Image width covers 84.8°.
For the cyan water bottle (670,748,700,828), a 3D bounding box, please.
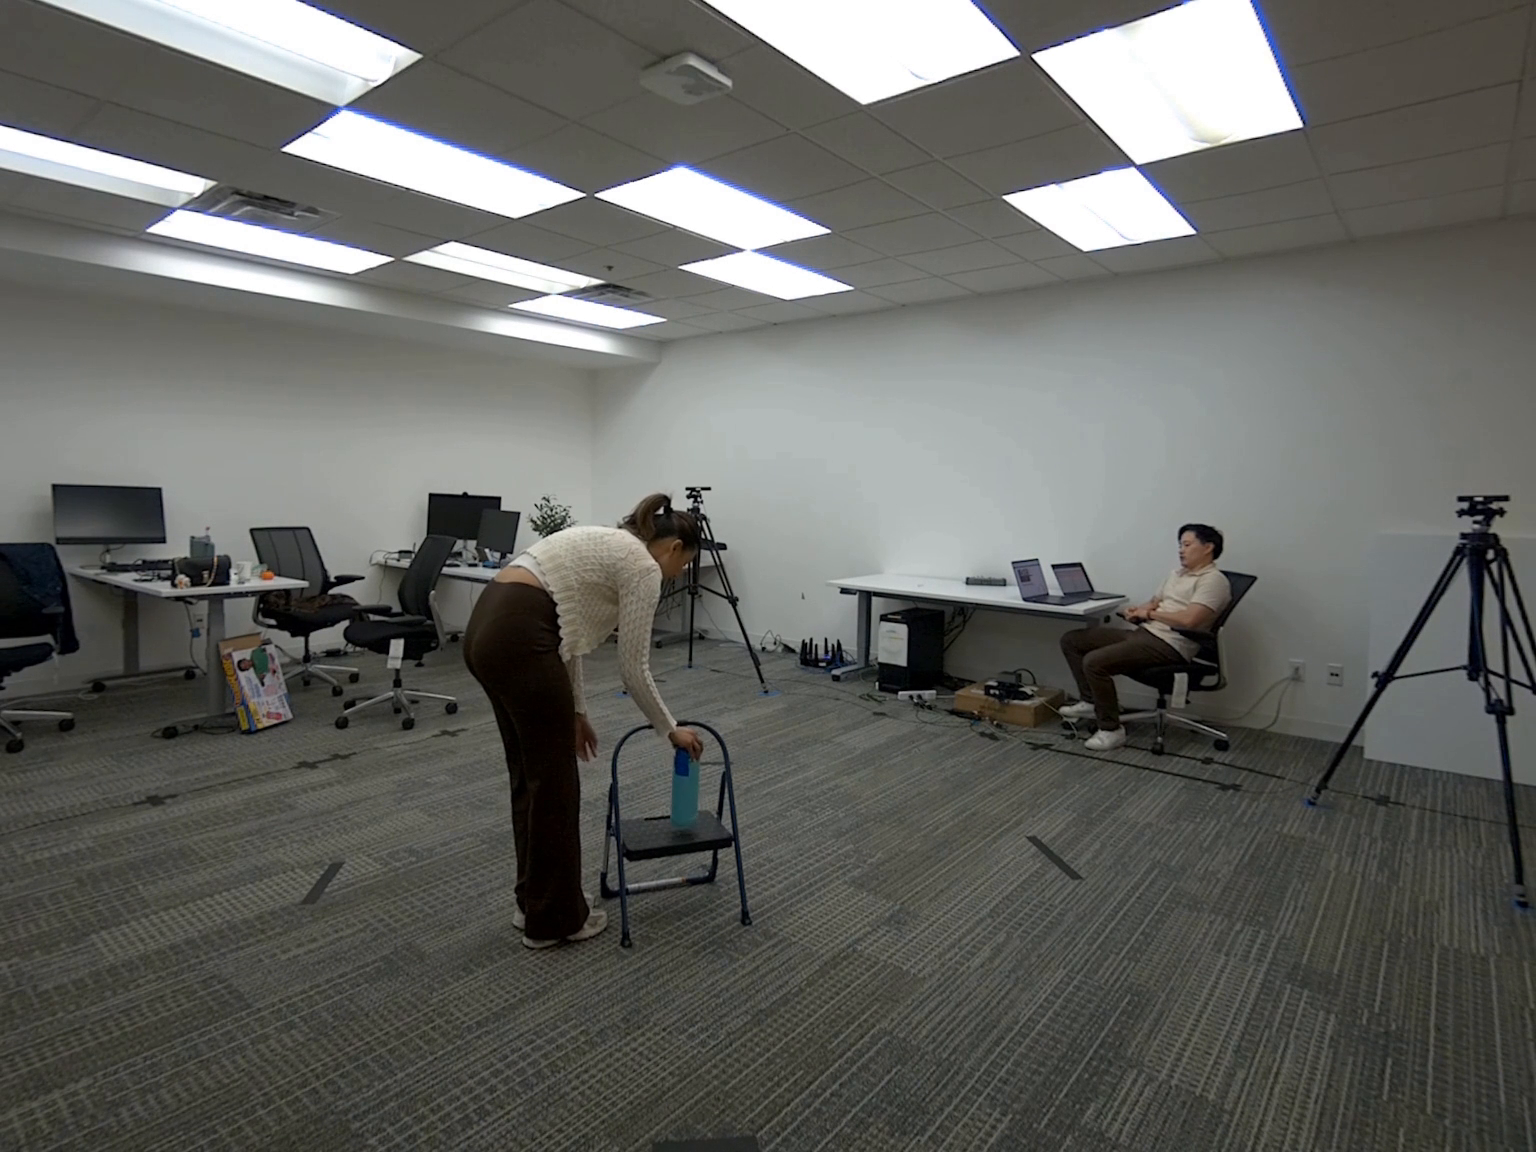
[{"bbox_3d":[-0.283,0.671,2.766,0.092,0.281,0.093,2,8,-2],"label":"cyan water bottle"}]
